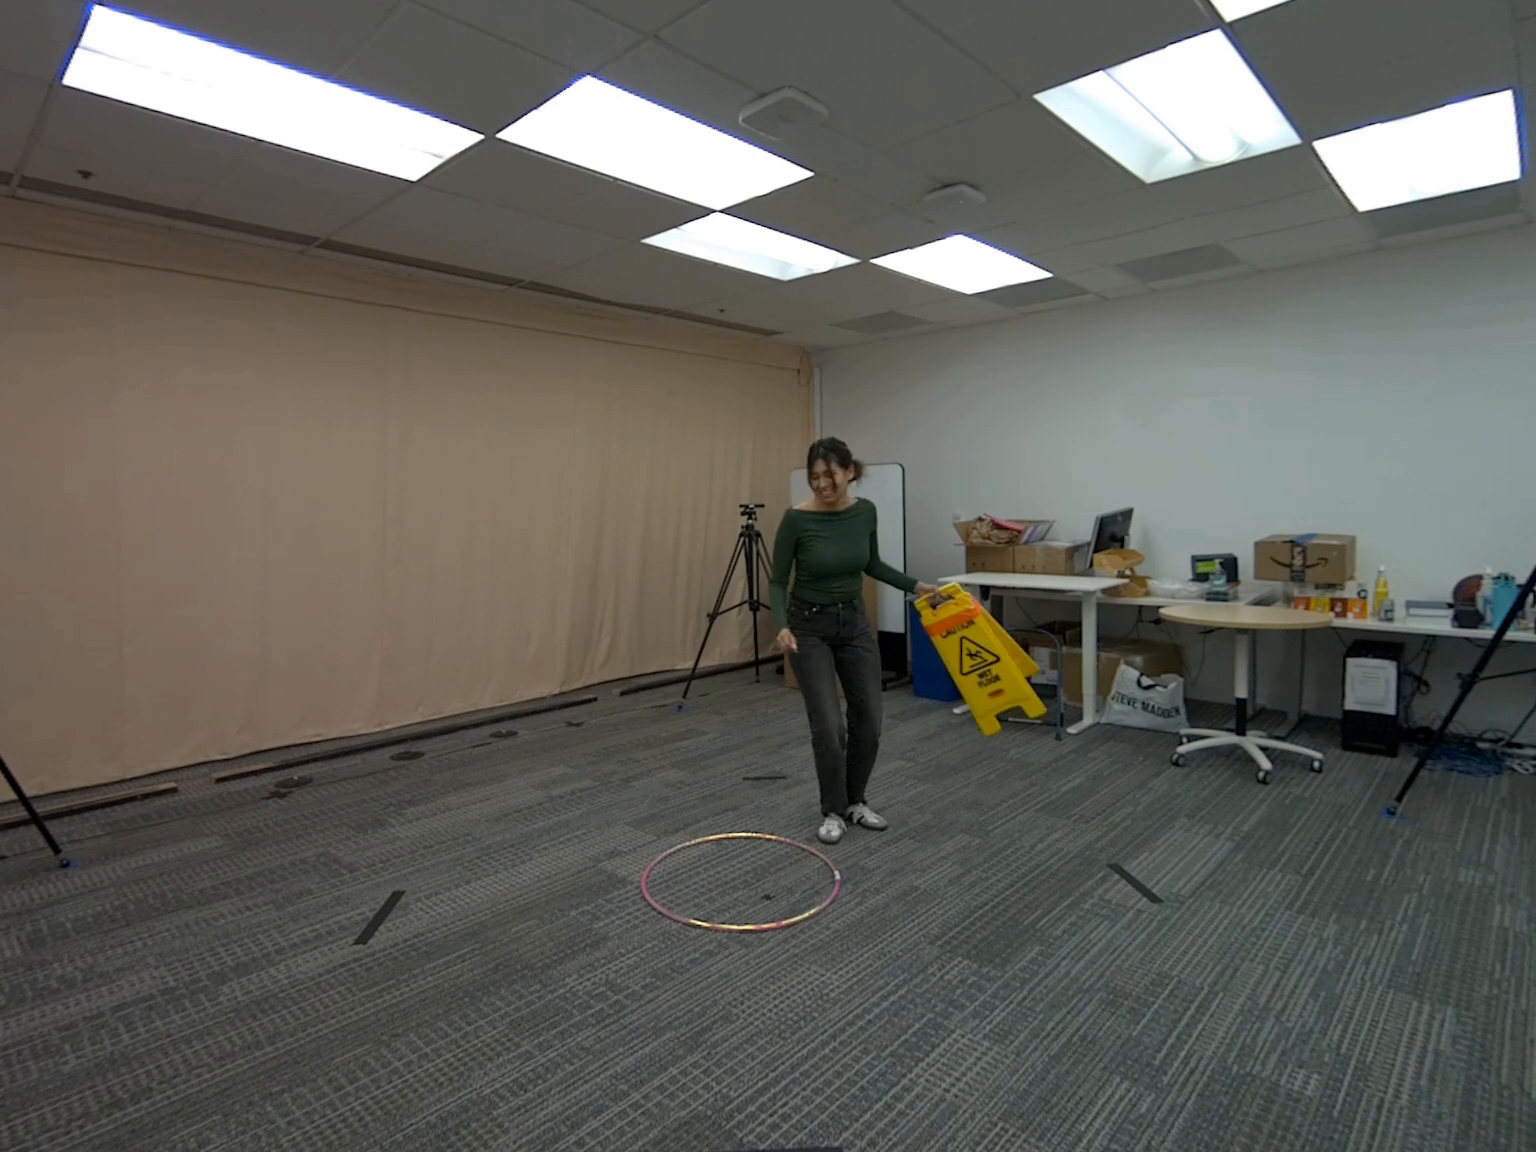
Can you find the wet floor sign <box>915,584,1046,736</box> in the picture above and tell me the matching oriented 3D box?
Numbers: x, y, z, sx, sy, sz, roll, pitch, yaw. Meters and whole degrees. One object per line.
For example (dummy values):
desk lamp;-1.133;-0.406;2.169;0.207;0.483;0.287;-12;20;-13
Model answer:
wet floor sign;0.834;0.317;3.539;0.286;0.635;0.291;-30;18;26
